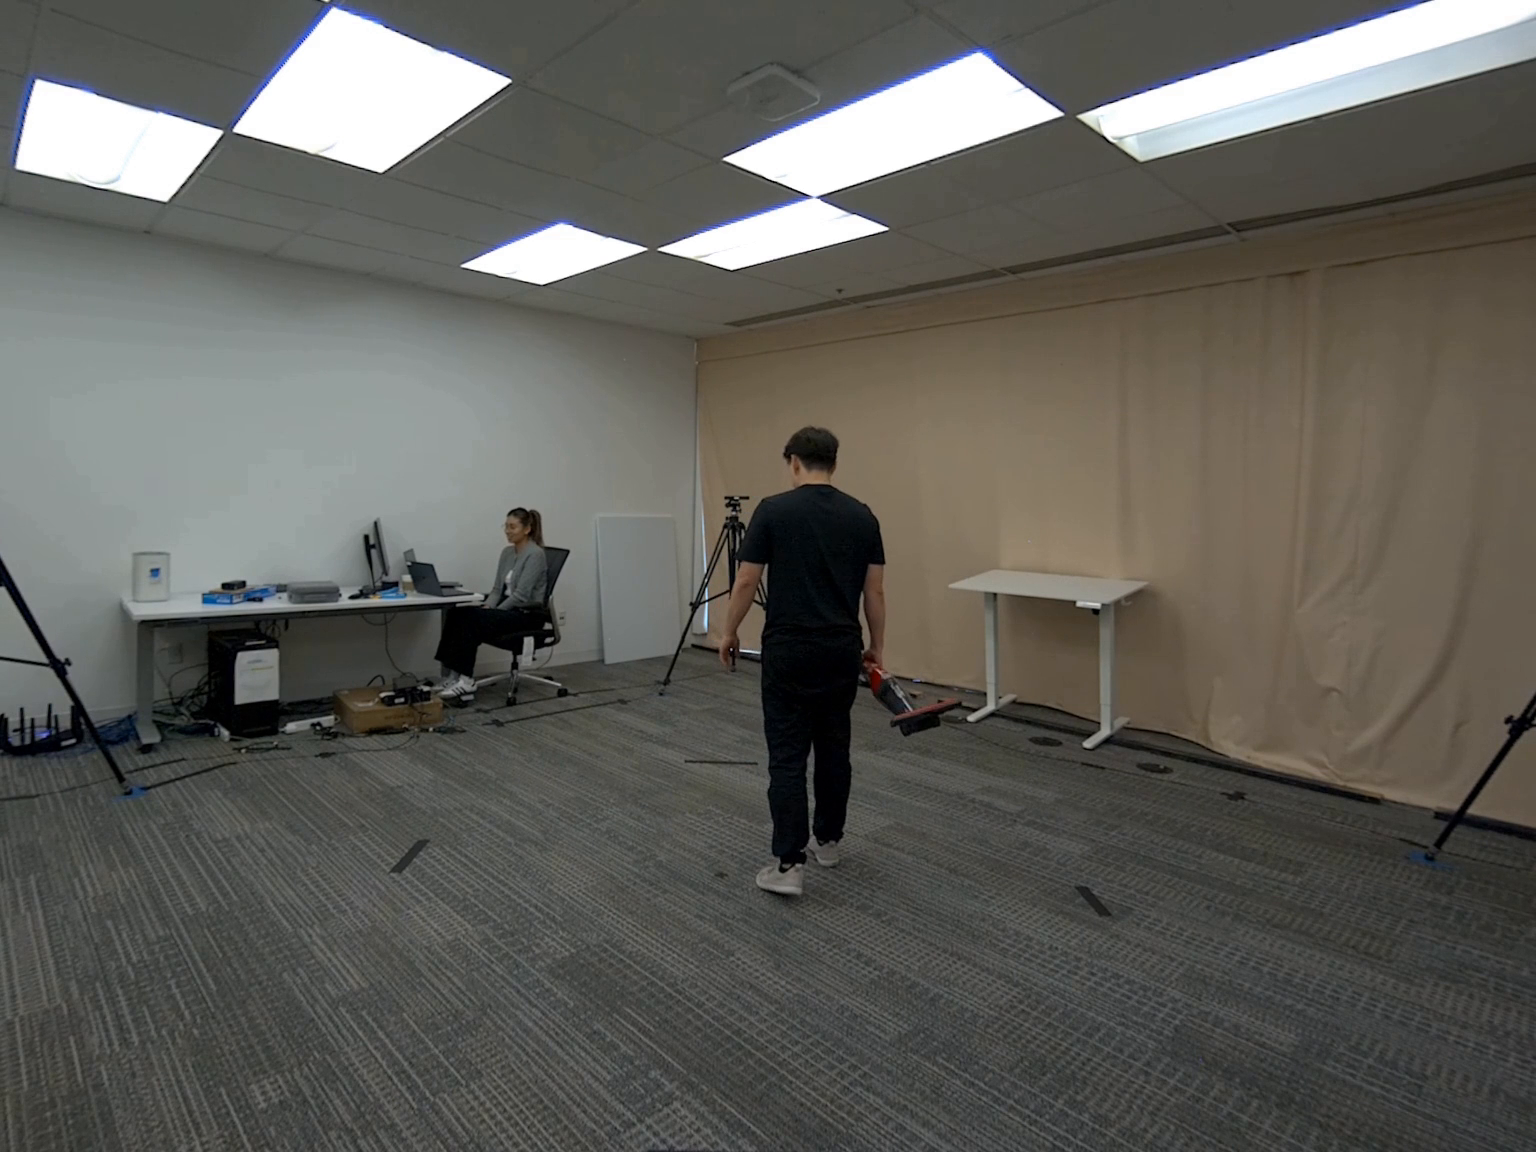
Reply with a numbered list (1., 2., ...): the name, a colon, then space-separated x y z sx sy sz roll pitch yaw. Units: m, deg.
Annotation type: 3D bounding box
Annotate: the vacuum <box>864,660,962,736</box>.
1. vacuum: 0.373 0.375 3.351 0.251 0.142 1.071 -18 18 -12
